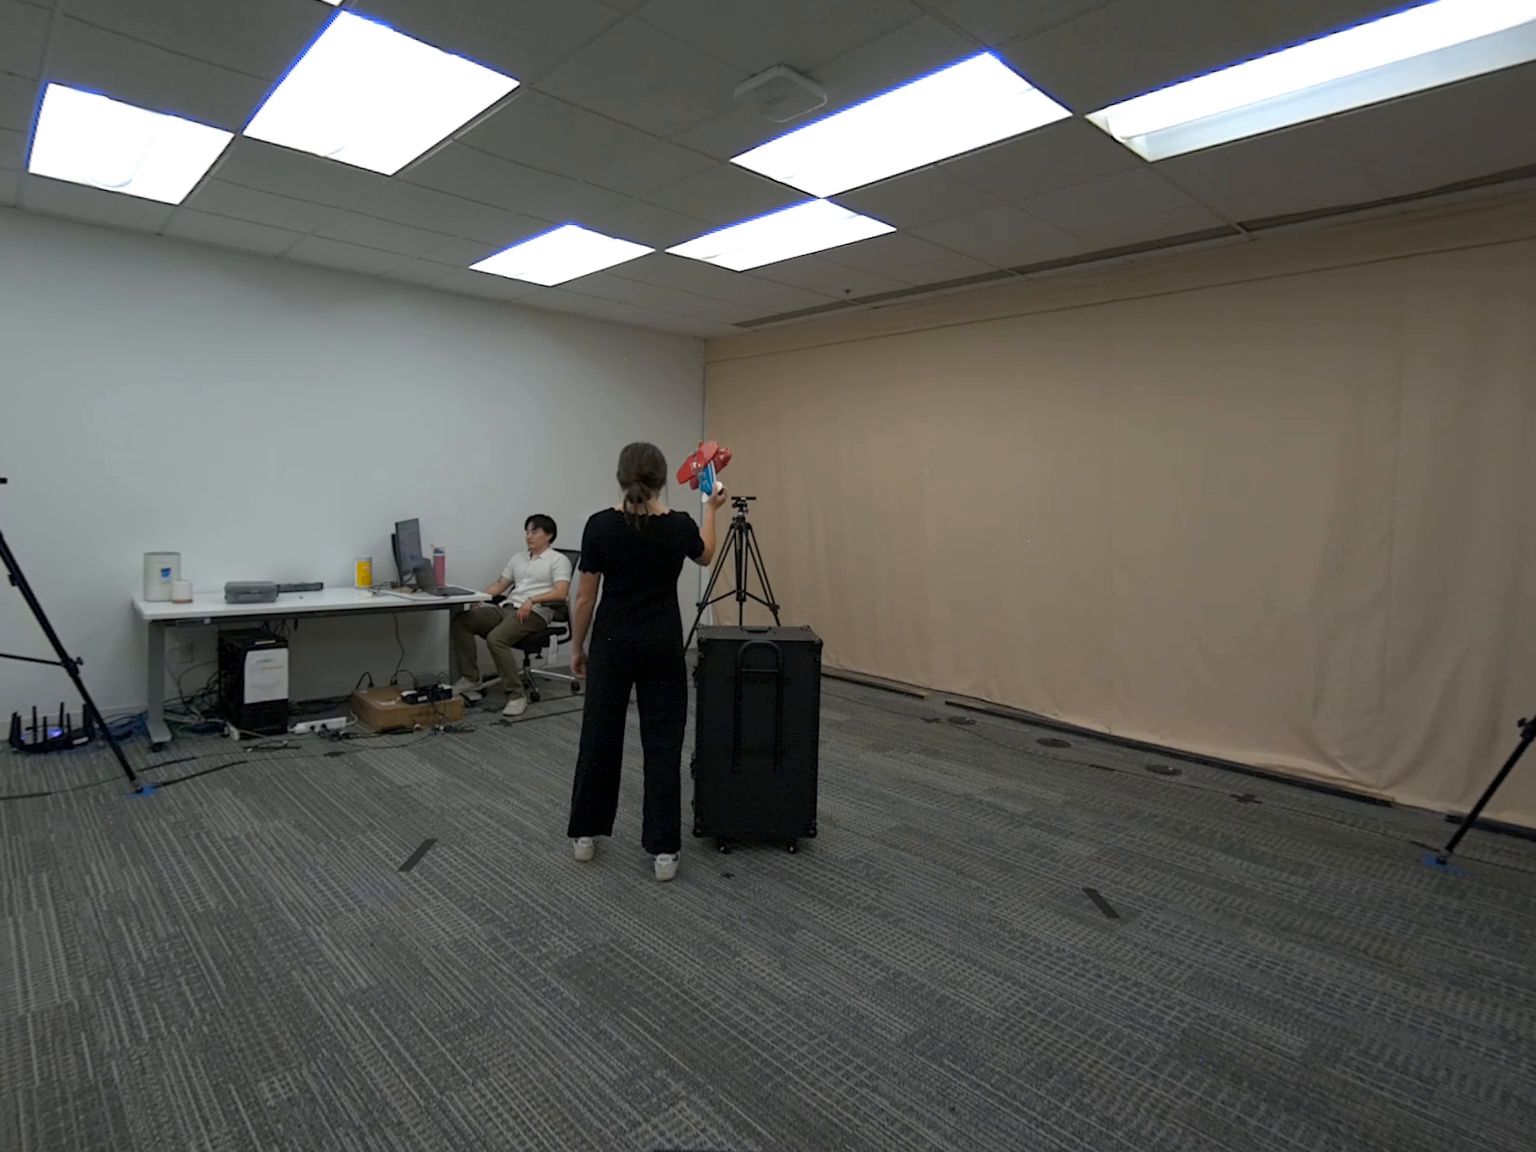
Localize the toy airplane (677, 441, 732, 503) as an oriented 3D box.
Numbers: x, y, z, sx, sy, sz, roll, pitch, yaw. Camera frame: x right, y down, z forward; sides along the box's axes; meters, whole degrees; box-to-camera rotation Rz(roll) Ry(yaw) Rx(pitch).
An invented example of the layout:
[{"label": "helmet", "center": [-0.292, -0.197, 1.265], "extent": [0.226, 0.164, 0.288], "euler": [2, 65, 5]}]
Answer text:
[{"label": "toy airplane", "center": [-0.254, -0.441, 3.560], "extent": [0.152, 0.251, 0.267], "euler": [32, 8, -33]}]
